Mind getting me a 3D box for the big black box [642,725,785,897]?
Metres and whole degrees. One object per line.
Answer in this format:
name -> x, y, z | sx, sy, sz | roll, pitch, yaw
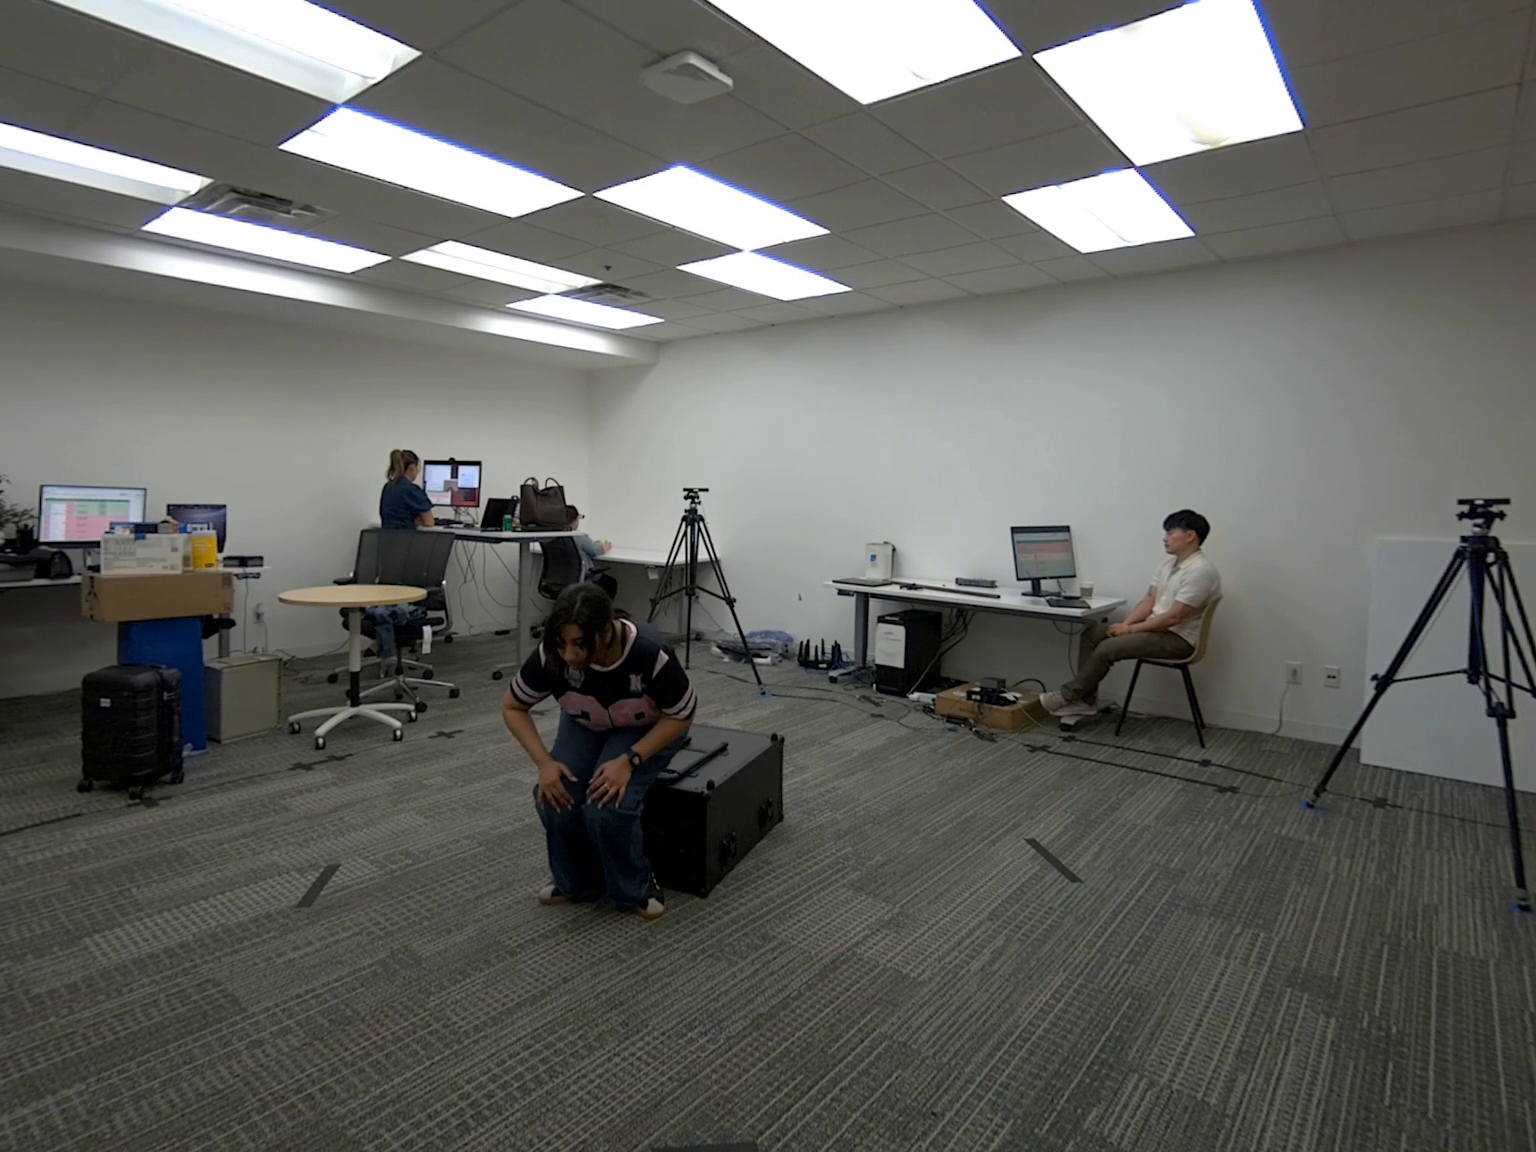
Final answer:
big black box -> -0.298, 0.857, 3.362 | 0.535, 0.384, 0.852 | 1, 5, 21
